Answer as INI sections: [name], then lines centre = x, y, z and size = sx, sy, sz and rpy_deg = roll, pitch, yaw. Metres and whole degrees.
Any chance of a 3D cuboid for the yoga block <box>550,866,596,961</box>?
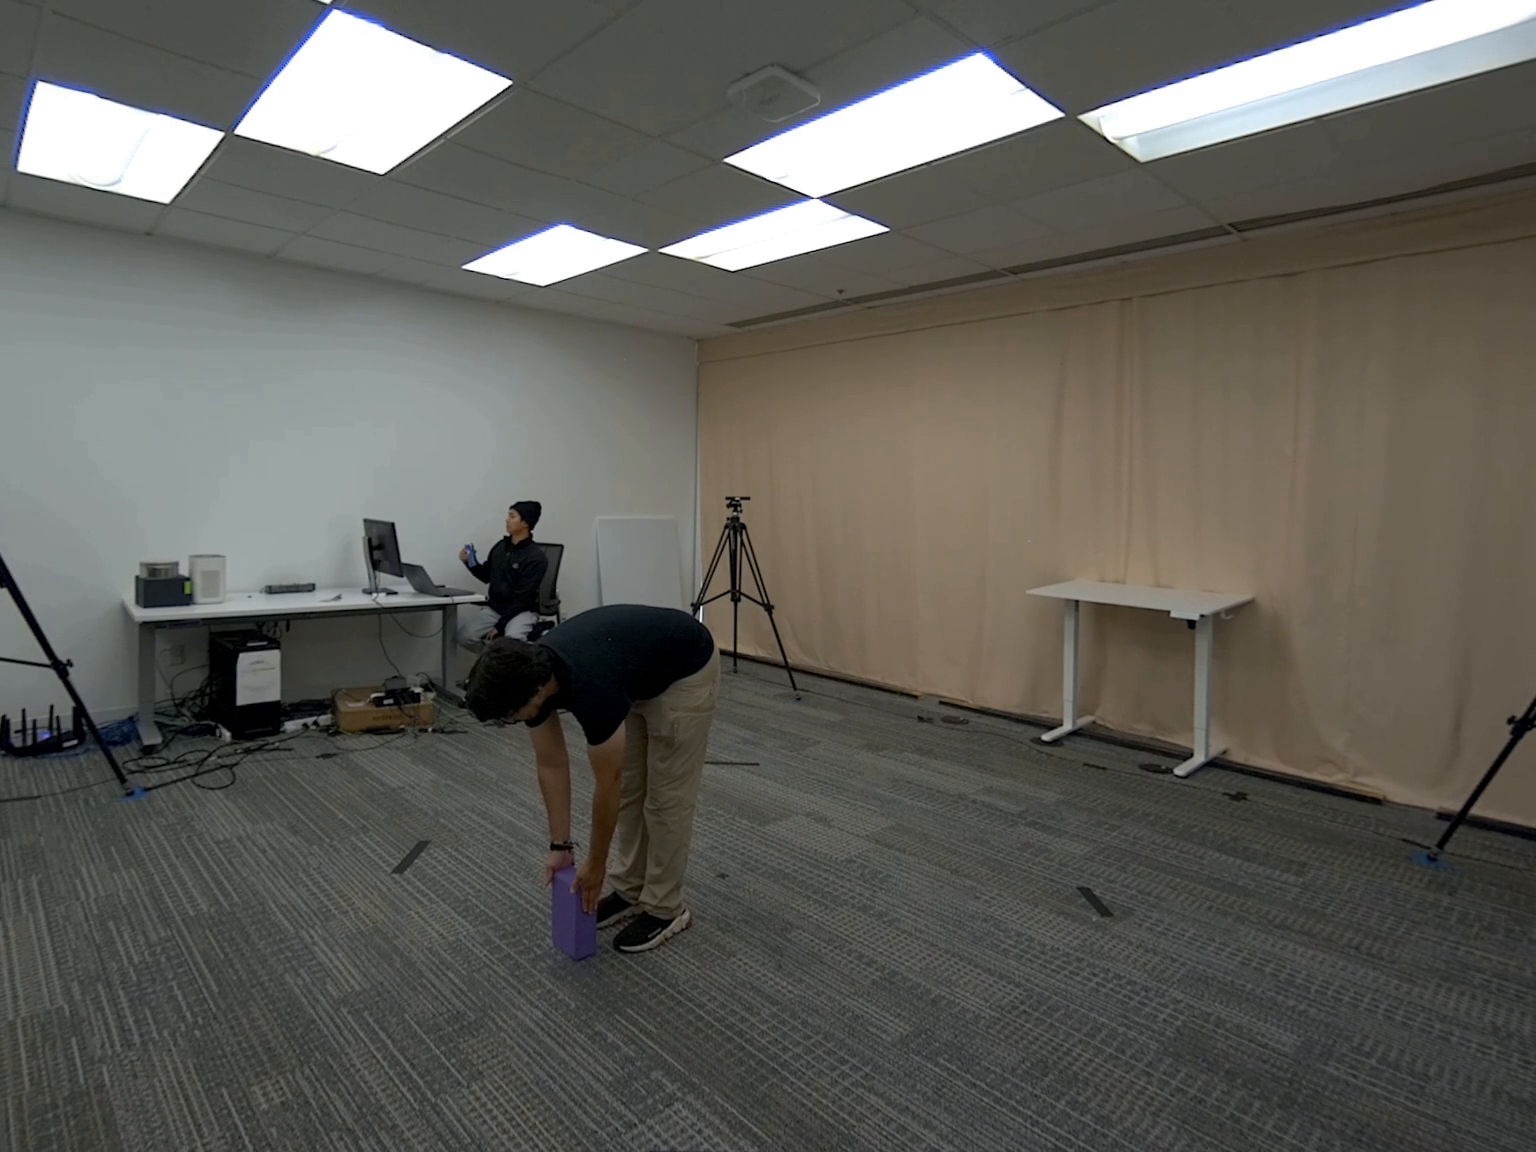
[yoga block]
centre = -0.597, 1.035, 2.574
size = 0.075, 0.228, 0.153
rpy_deg = -4, 8, -42
